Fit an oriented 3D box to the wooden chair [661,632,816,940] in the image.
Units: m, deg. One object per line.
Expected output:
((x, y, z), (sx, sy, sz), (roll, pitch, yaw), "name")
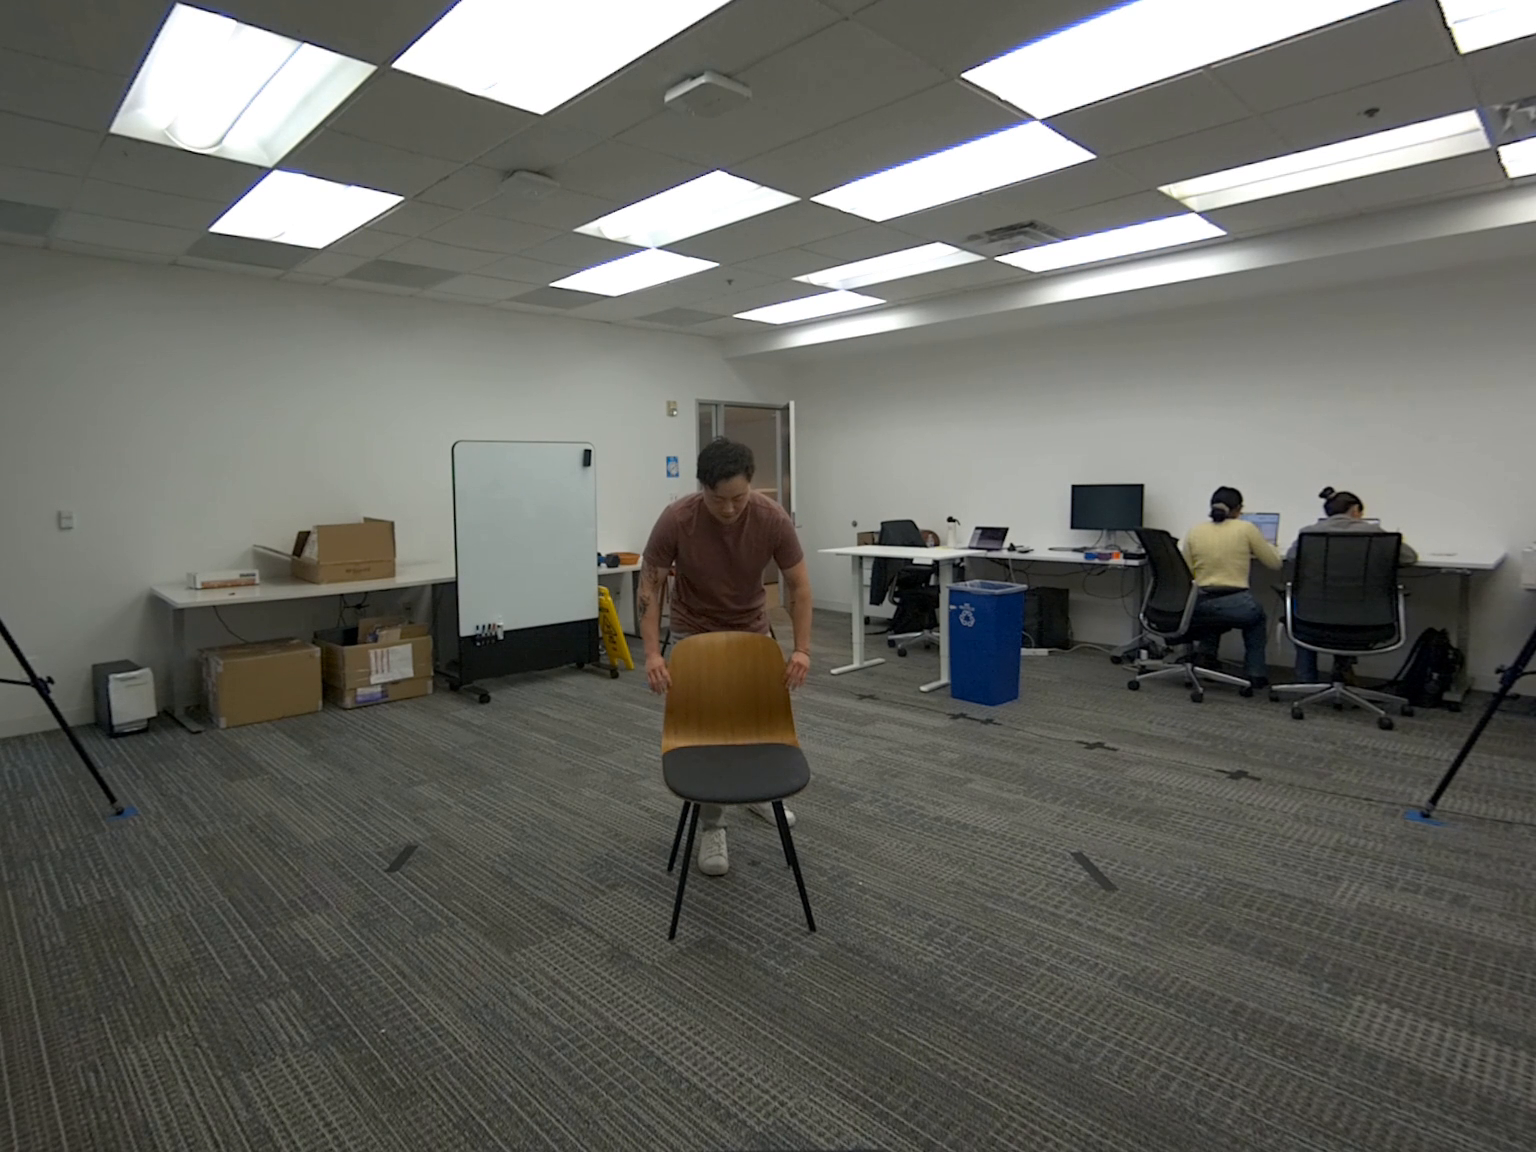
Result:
((-0.110, 0.652, 2.778), (0.475, 0.877, 0.527), (0, 1, -7), "wooden chair")
